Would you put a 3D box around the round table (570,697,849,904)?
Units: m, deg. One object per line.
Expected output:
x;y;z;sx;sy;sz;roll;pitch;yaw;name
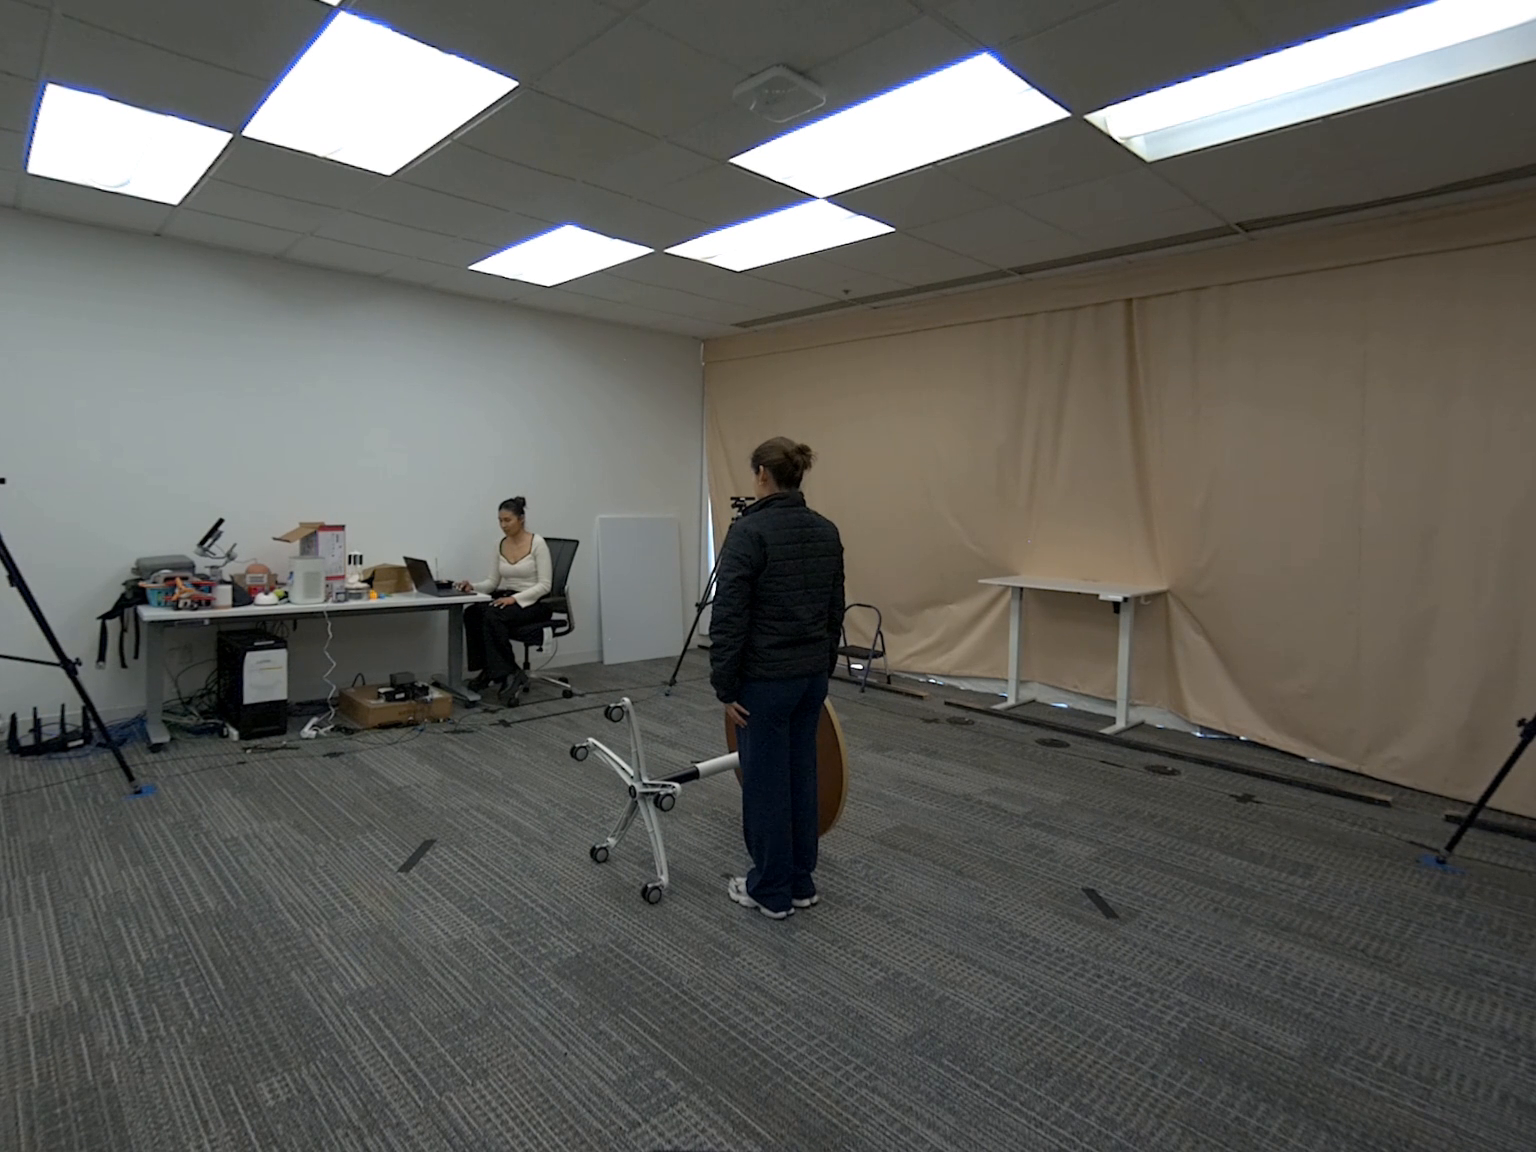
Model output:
-0.240;0.756;3.218;0.771;0.780;0.805;-9;10;-37;round table
